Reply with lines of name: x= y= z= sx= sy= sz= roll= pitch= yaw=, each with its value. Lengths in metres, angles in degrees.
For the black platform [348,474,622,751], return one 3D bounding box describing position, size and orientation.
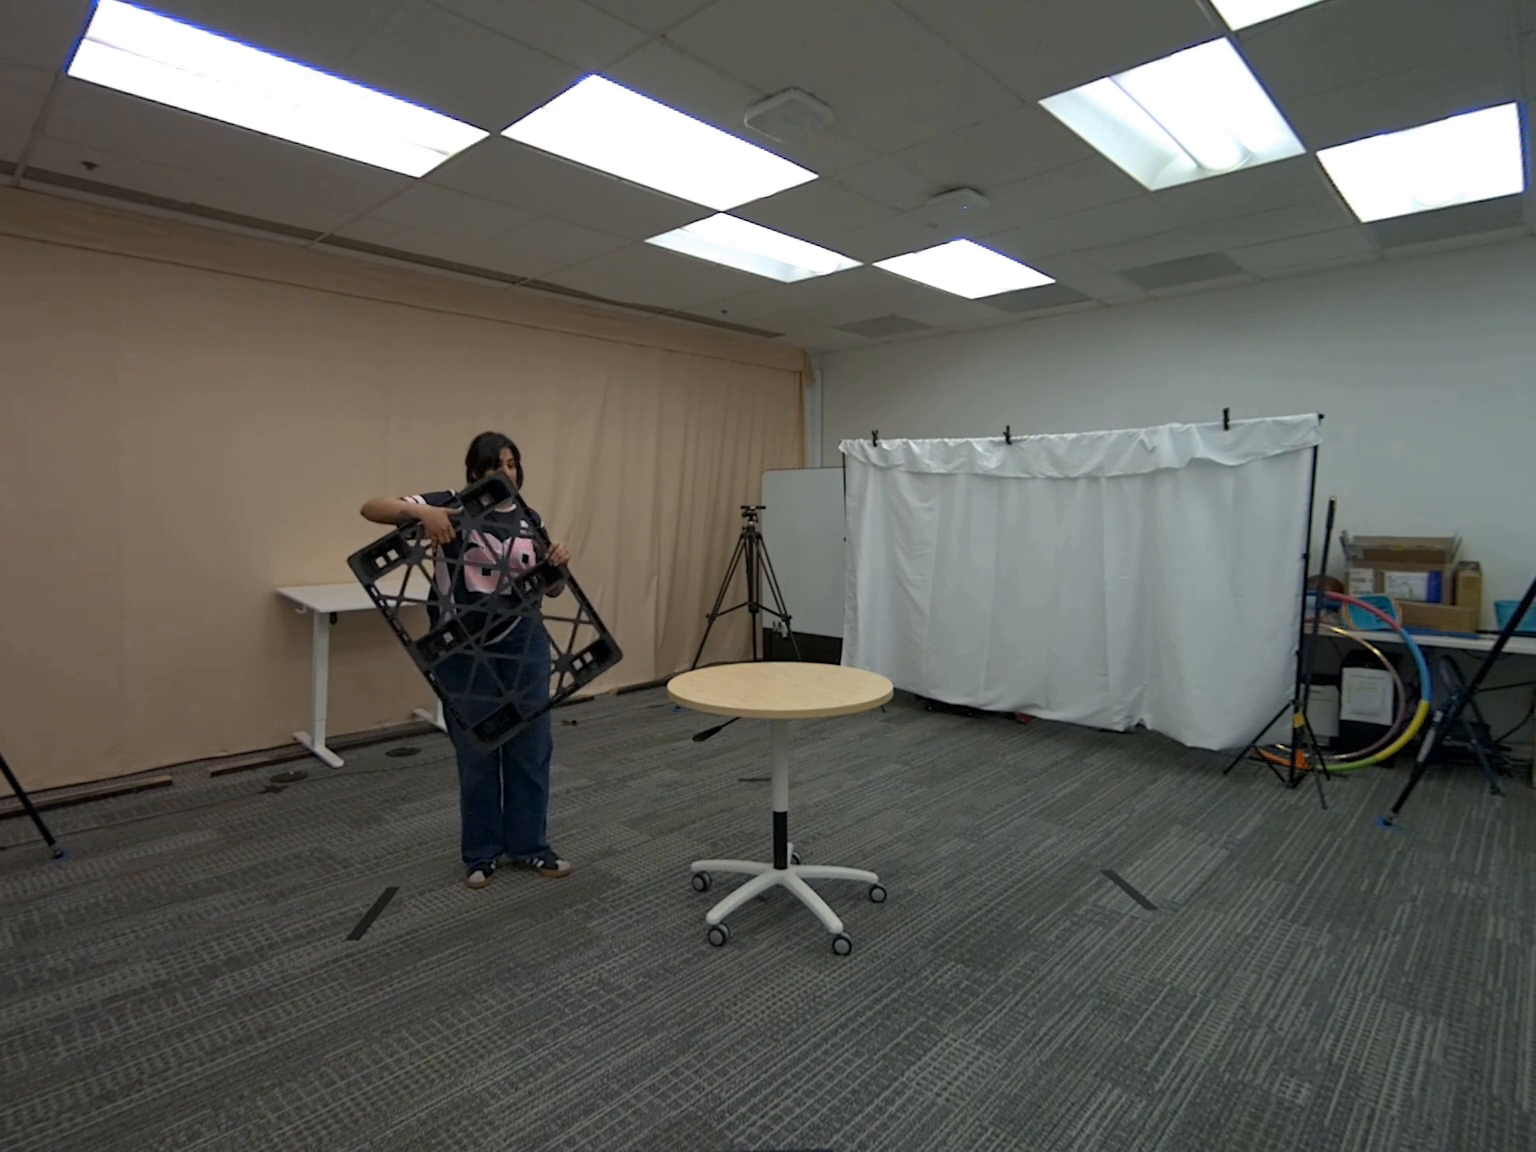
black platform: x=-0.966 y=0.115 z=2.931 sx=0.599 sy=0.799 sz=0.146 roll=-34 pitch=7 yaw=-21
